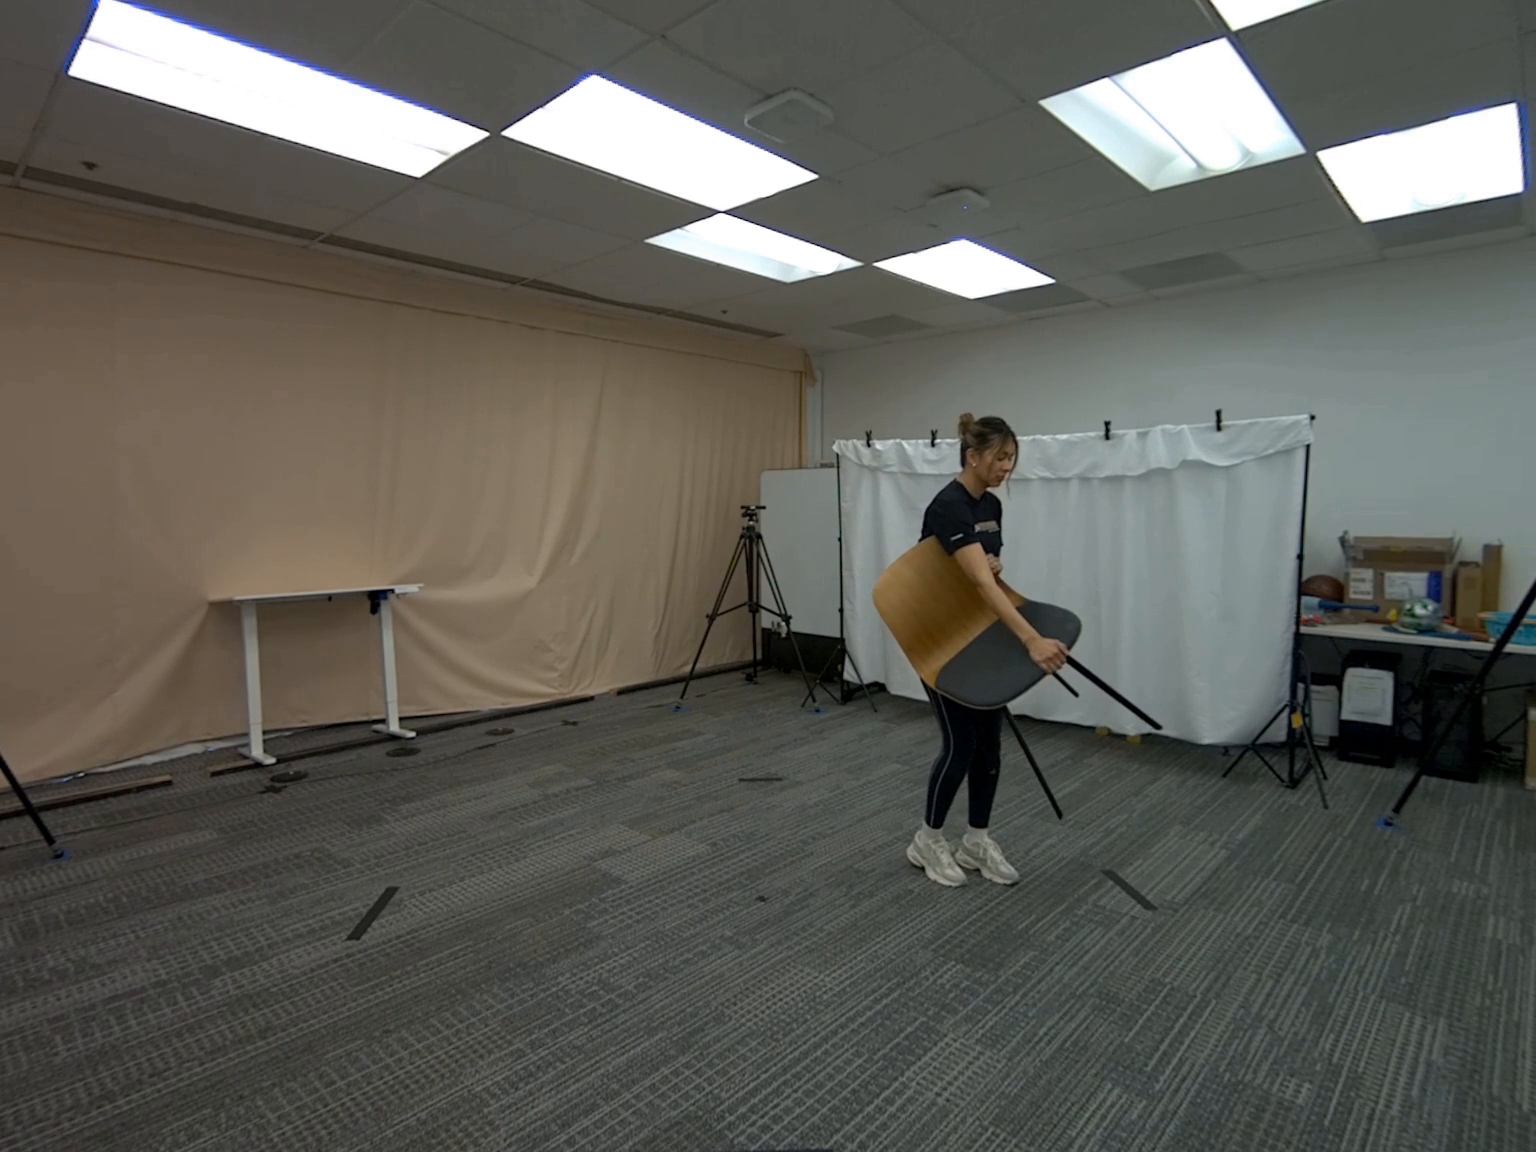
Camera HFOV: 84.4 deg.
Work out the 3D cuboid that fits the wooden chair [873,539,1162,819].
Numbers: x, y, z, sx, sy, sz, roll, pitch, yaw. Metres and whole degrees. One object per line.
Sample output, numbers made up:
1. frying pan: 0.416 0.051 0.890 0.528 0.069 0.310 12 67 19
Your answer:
1. wooden chair: 0.795 0.285 2.837 0.476 0.871 0.529 -38 7 -7
